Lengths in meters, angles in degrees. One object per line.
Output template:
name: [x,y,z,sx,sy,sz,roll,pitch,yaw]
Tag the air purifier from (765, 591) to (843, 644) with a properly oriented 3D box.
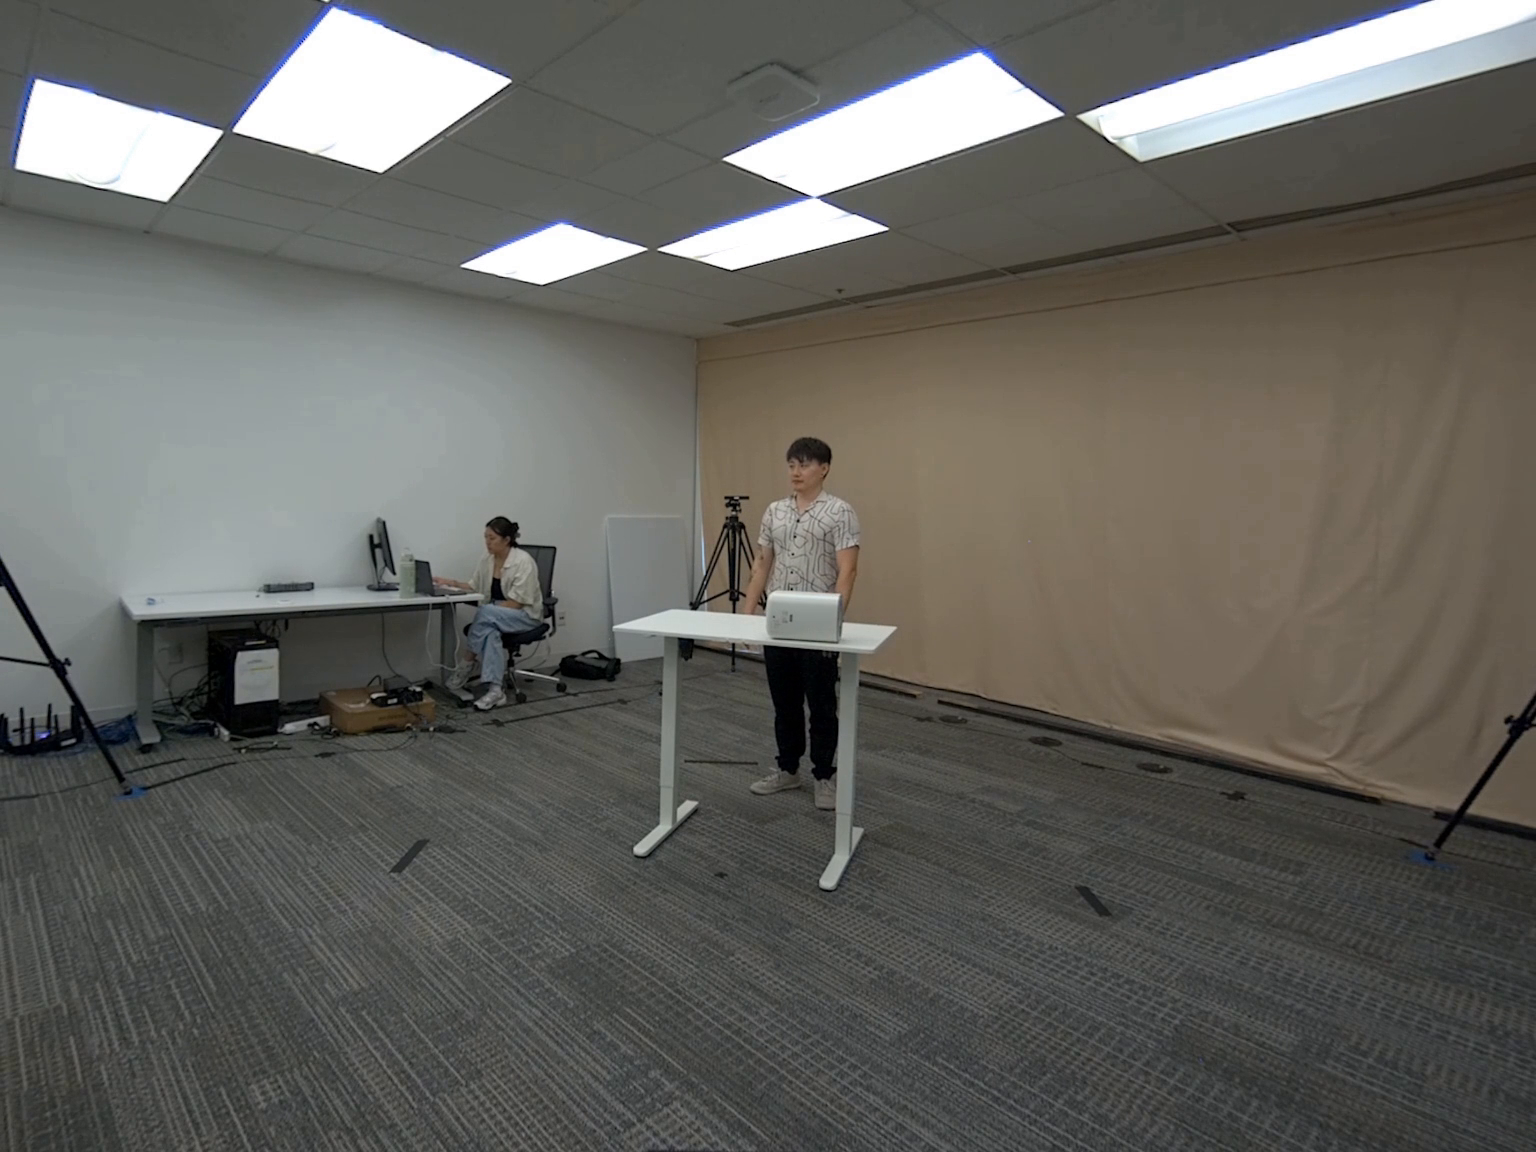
air purifier: [0.124,0.144,3.077,0.268,0.170,0.170,3,7,13]
